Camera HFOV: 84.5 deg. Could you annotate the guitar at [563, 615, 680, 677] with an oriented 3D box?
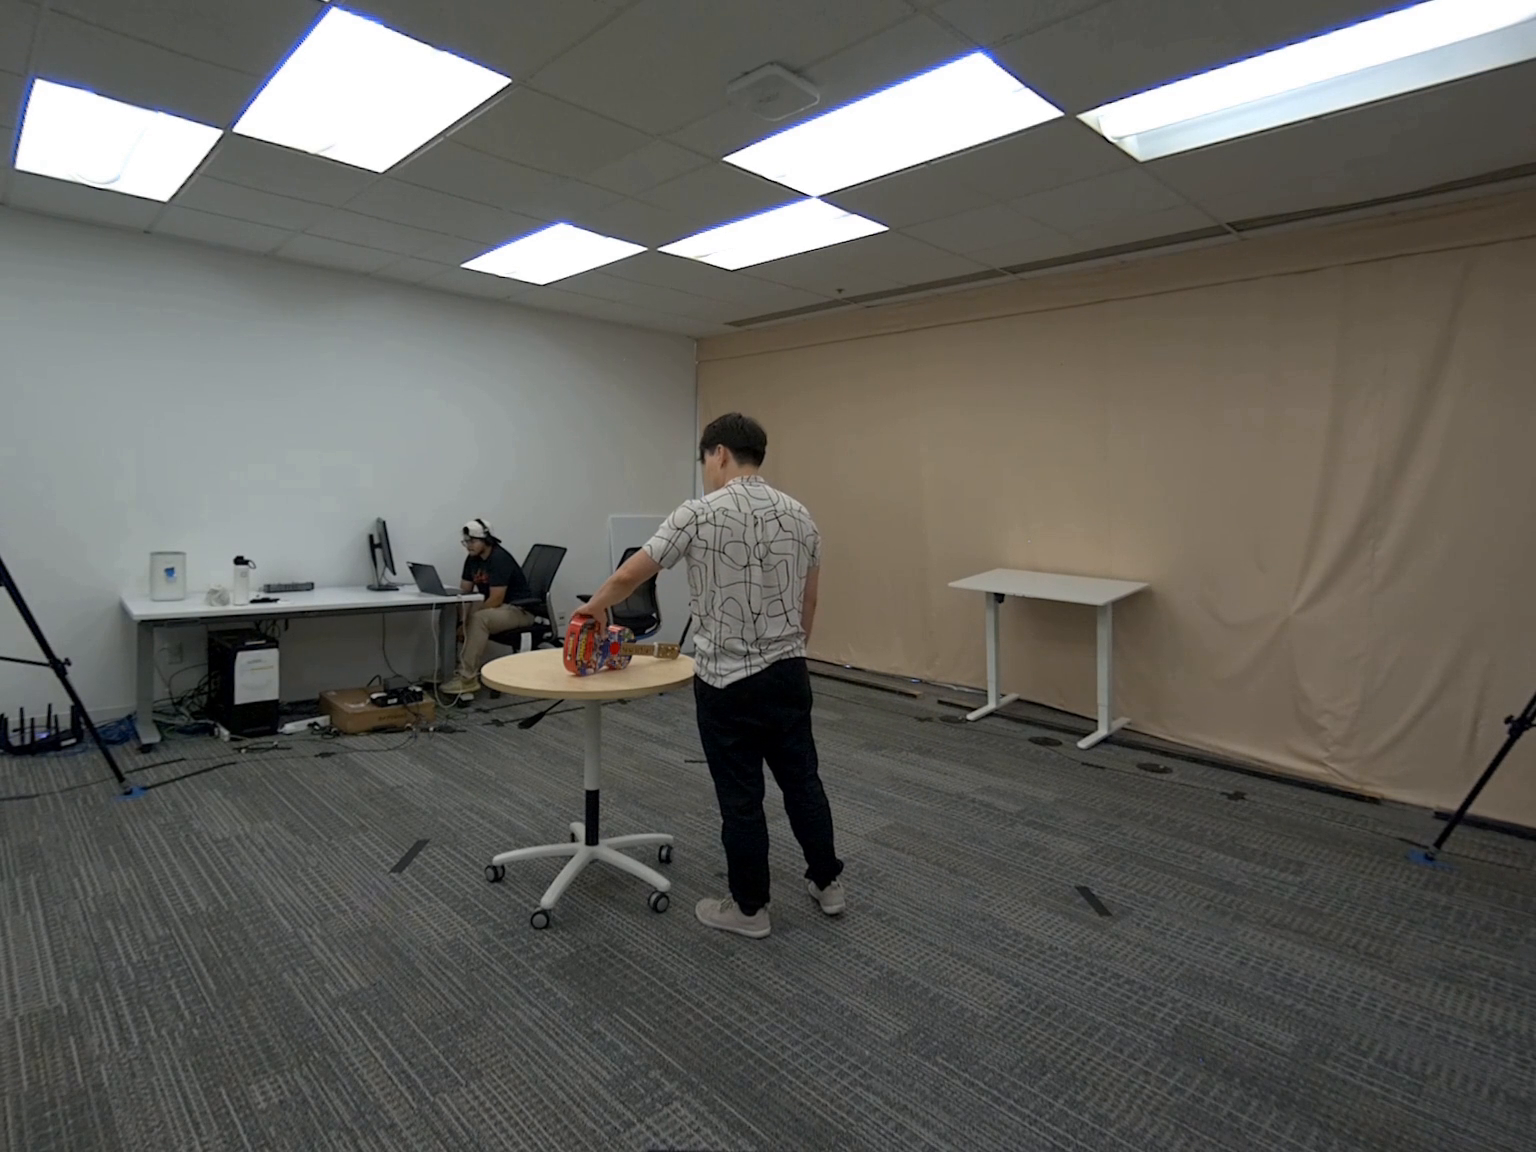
[{"bbox_3d":[-0.510,0.282,2.959,0.072,0.194,0.483,5,-12,38],"label":"guitar"}]
